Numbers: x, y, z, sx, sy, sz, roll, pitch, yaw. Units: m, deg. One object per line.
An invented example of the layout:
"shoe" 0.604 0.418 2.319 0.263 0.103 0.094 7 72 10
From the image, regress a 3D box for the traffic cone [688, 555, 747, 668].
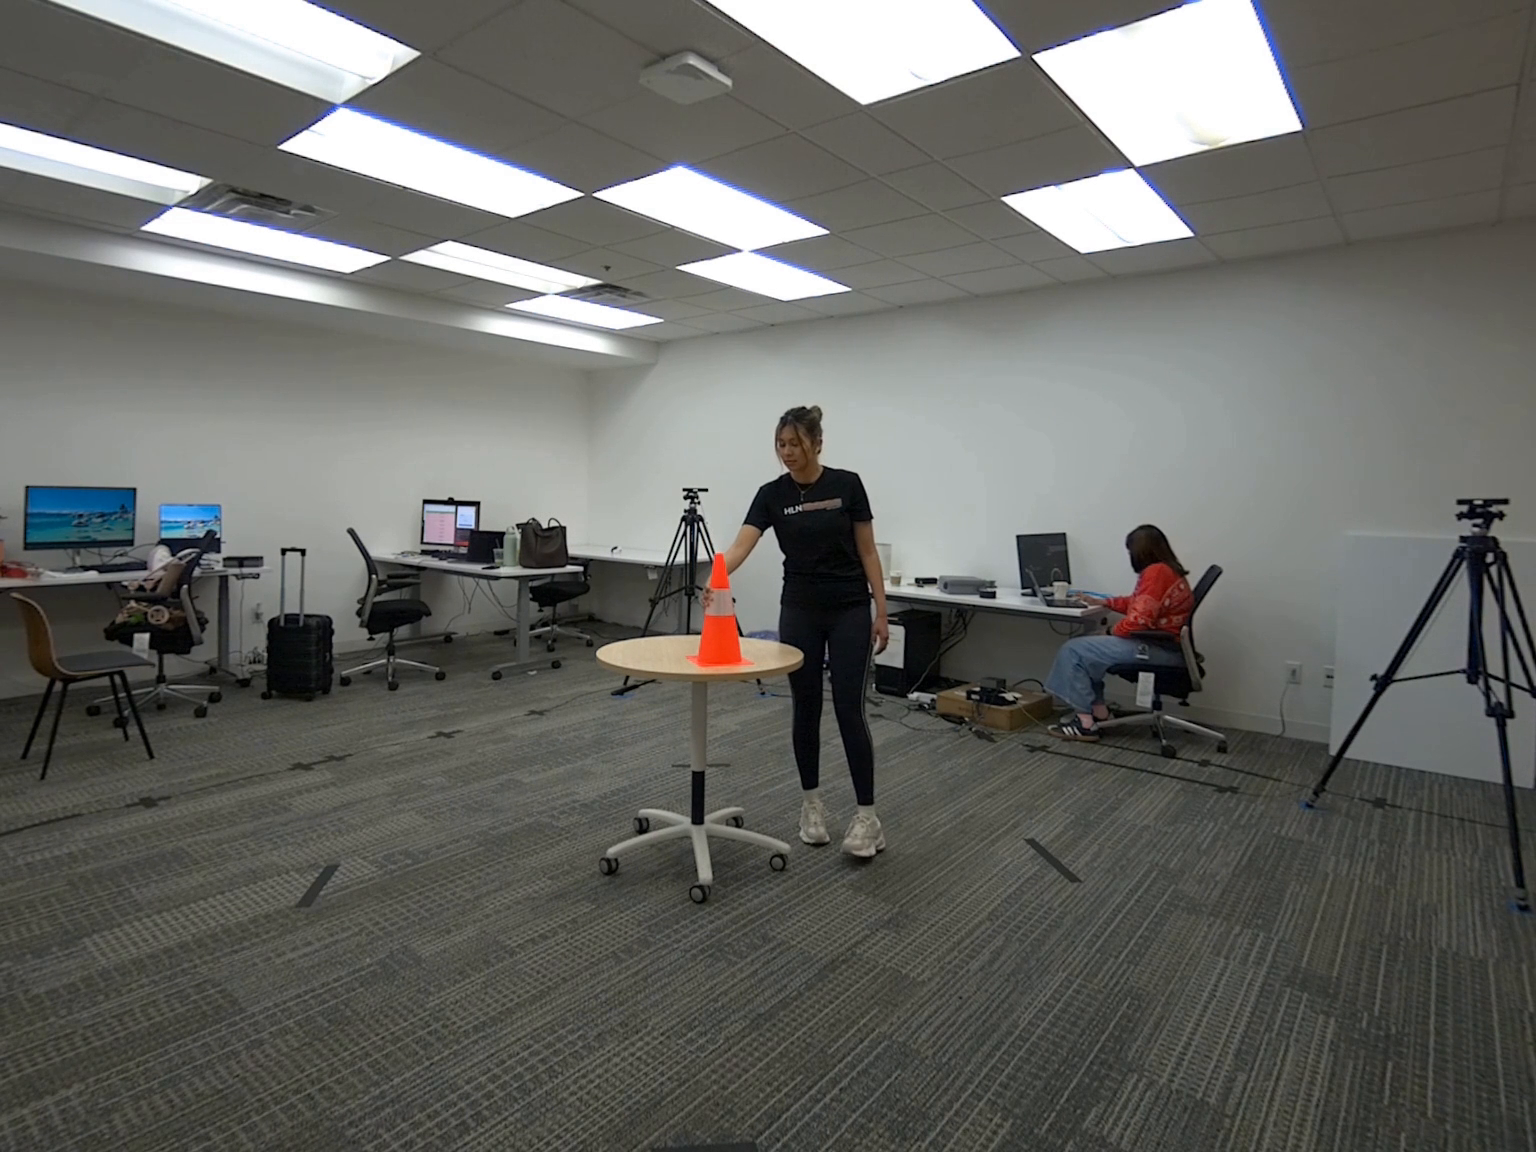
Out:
"traffic cone" -0.170 0.109 2.995 0.200 0.383 0.209 2 3 -24
